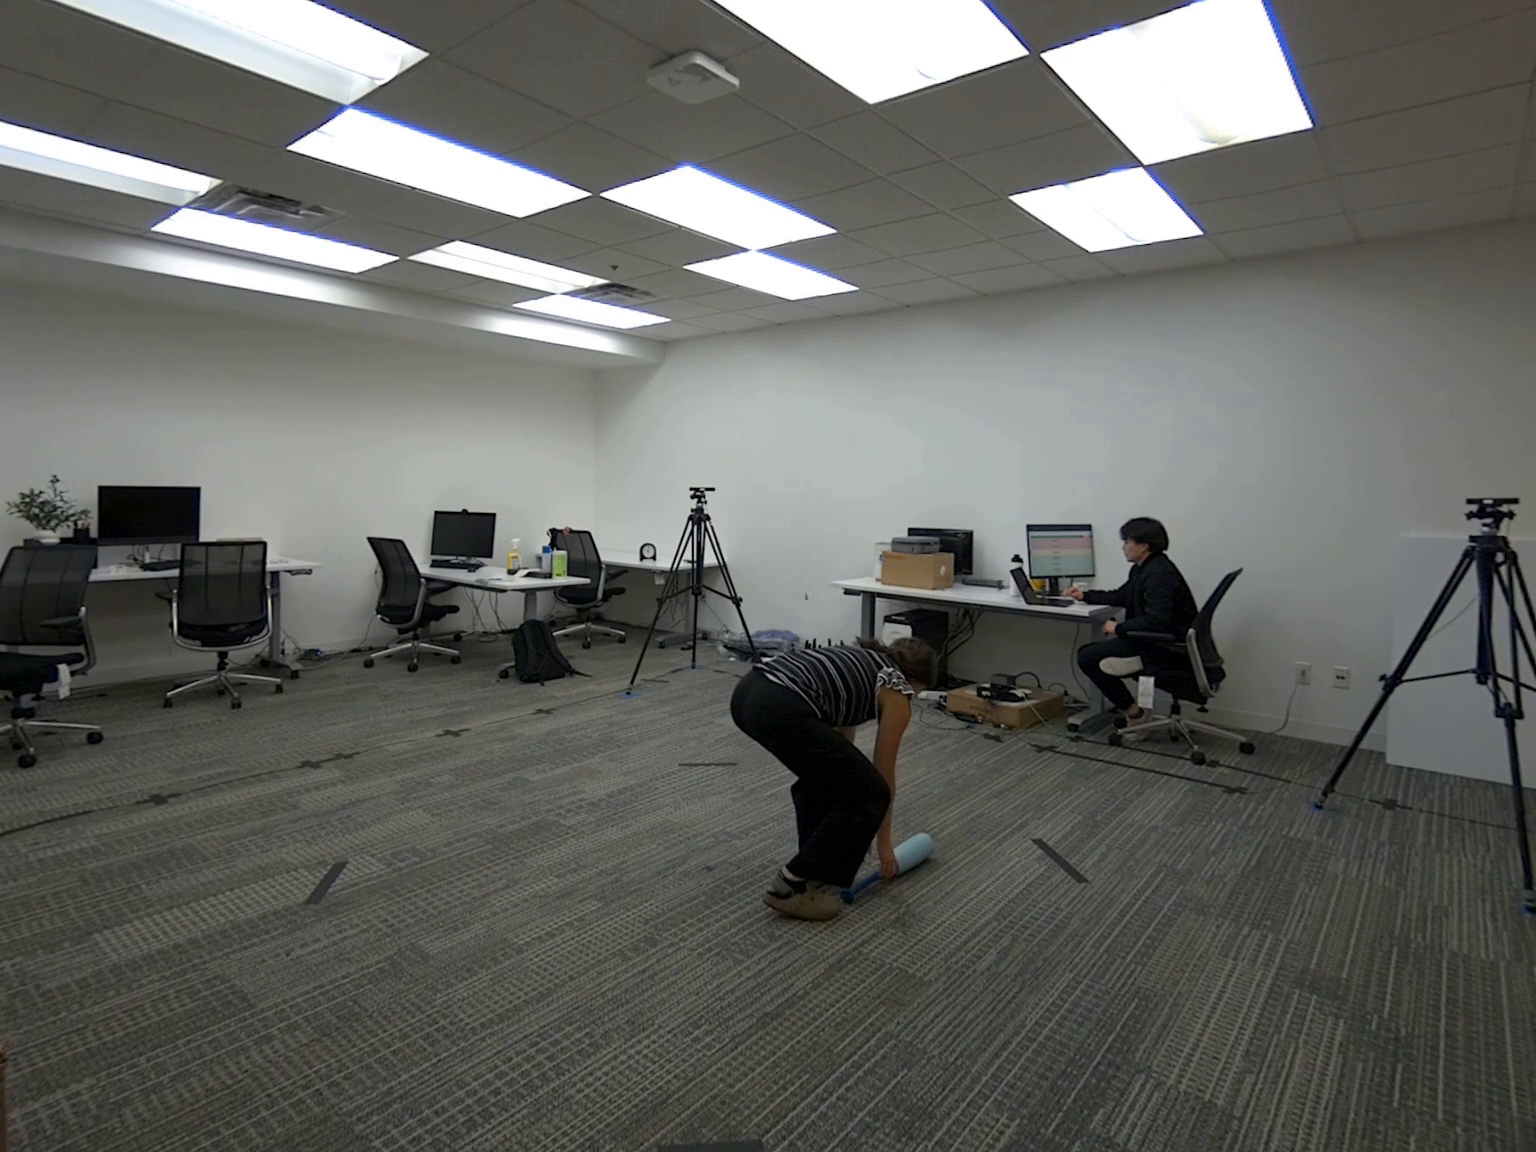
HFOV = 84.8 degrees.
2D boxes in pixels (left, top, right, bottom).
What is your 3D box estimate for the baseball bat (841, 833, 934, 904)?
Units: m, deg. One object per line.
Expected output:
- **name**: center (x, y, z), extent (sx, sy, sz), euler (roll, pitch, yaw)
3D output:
- **baseball bat**: center (0.430, 1.049, 3.065), extent (0.092, 0.088, 0.528), euler (5, 10, 41)
